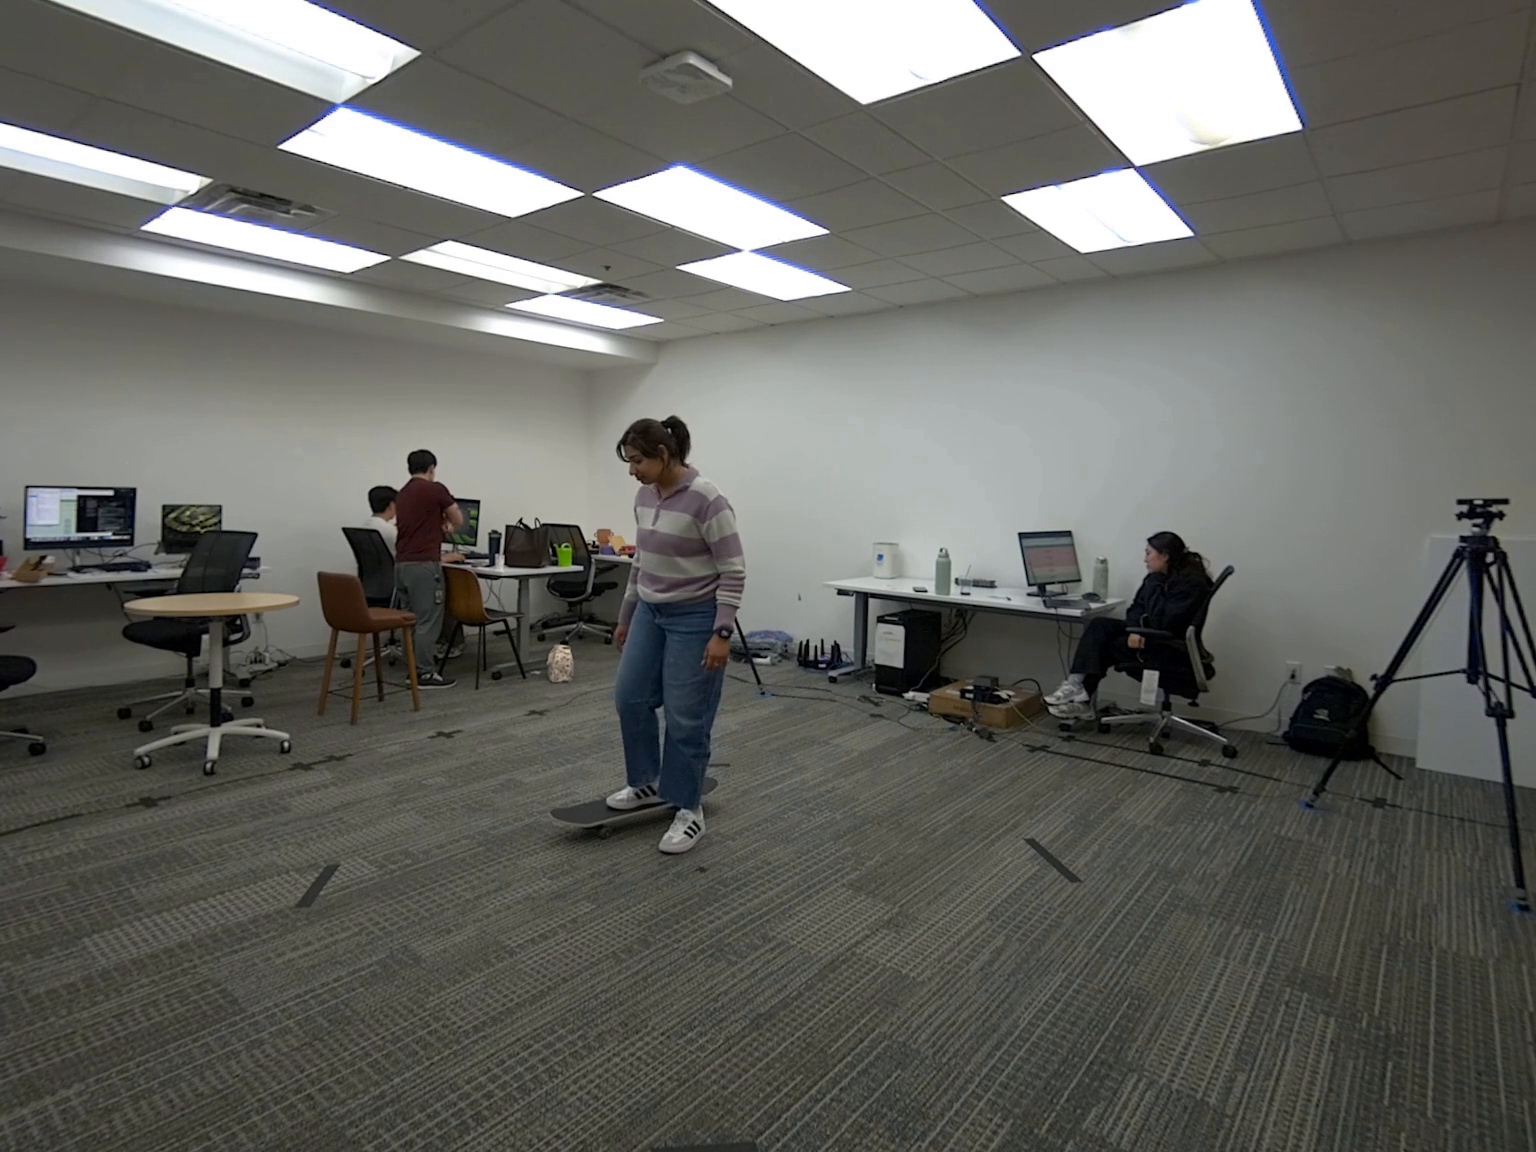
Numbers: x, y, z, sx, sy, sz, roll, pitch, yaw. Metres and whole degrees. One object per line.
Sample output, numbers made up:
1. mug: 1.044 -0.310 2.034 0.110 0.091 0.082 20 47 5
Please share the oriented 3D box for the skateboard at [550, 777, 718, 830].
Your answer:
1. skateboard: -0.548 0.965 3.541 0.763 0.110 0.200 -3 8 -37
